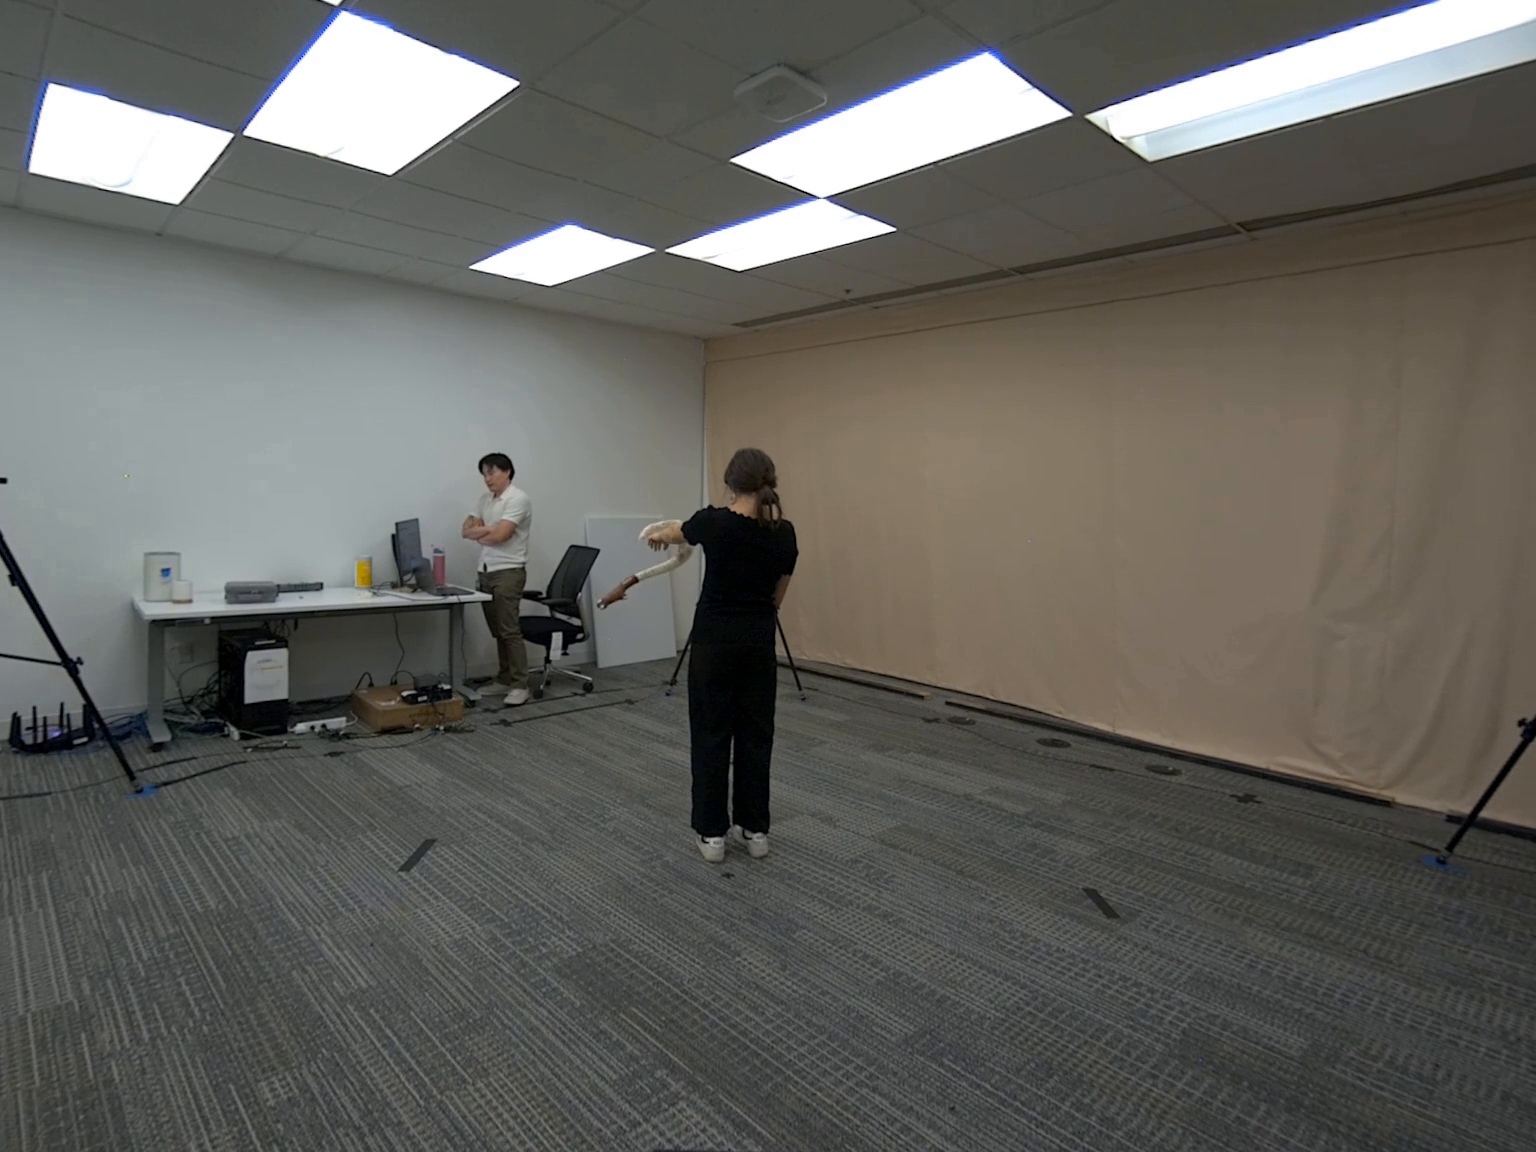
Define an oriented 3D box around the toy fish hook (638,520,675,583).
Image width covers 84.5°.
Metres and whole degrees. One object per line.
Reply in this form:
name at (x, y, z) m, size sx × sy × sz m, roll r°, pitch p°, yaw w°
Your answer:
toy fish hook at (-0.530, -0.043, 3.545) m, size 0.505 × 0.229 × 0.047 m, roll -38°, pitch -18°, yaw -17°
